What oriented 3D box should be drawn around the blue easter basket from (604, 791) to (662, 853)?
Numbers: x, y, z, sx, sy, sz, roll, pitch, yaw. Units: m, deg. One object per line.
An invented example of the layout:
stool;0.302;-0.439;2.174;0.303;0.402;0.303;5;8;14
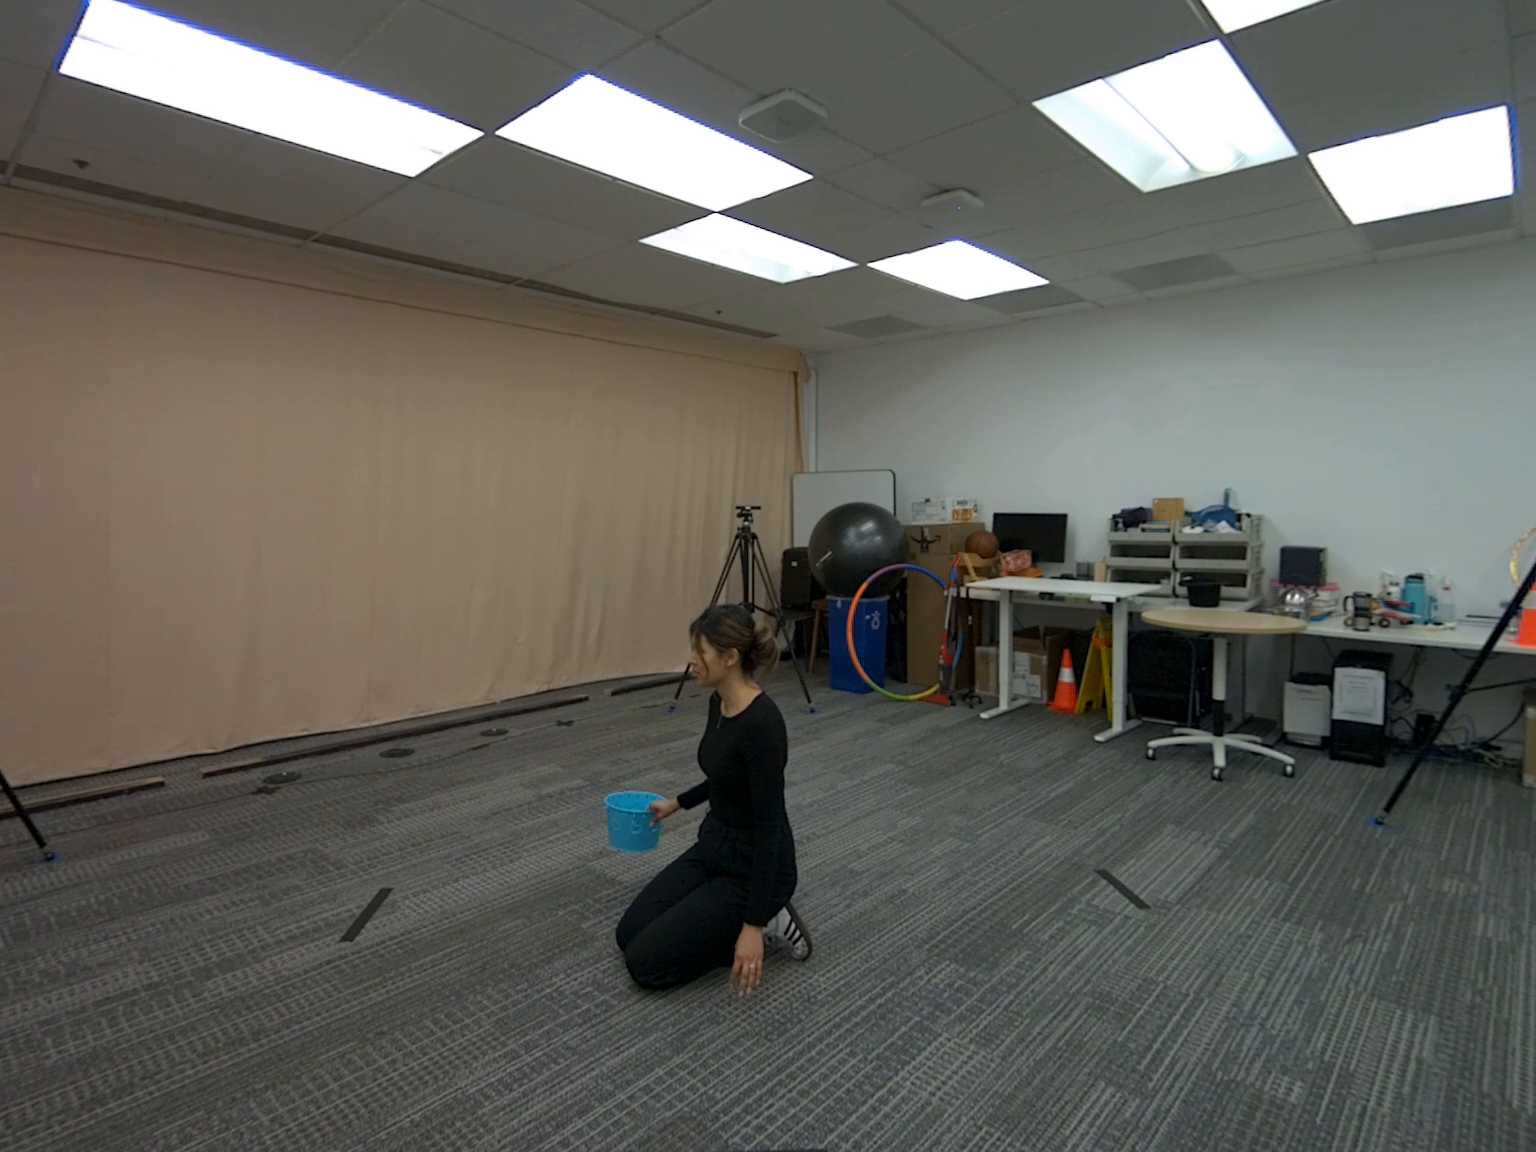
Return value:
blue easter basket;-0.475;0.889;3.026;0.243;0.156;0.244;3;1;-2
